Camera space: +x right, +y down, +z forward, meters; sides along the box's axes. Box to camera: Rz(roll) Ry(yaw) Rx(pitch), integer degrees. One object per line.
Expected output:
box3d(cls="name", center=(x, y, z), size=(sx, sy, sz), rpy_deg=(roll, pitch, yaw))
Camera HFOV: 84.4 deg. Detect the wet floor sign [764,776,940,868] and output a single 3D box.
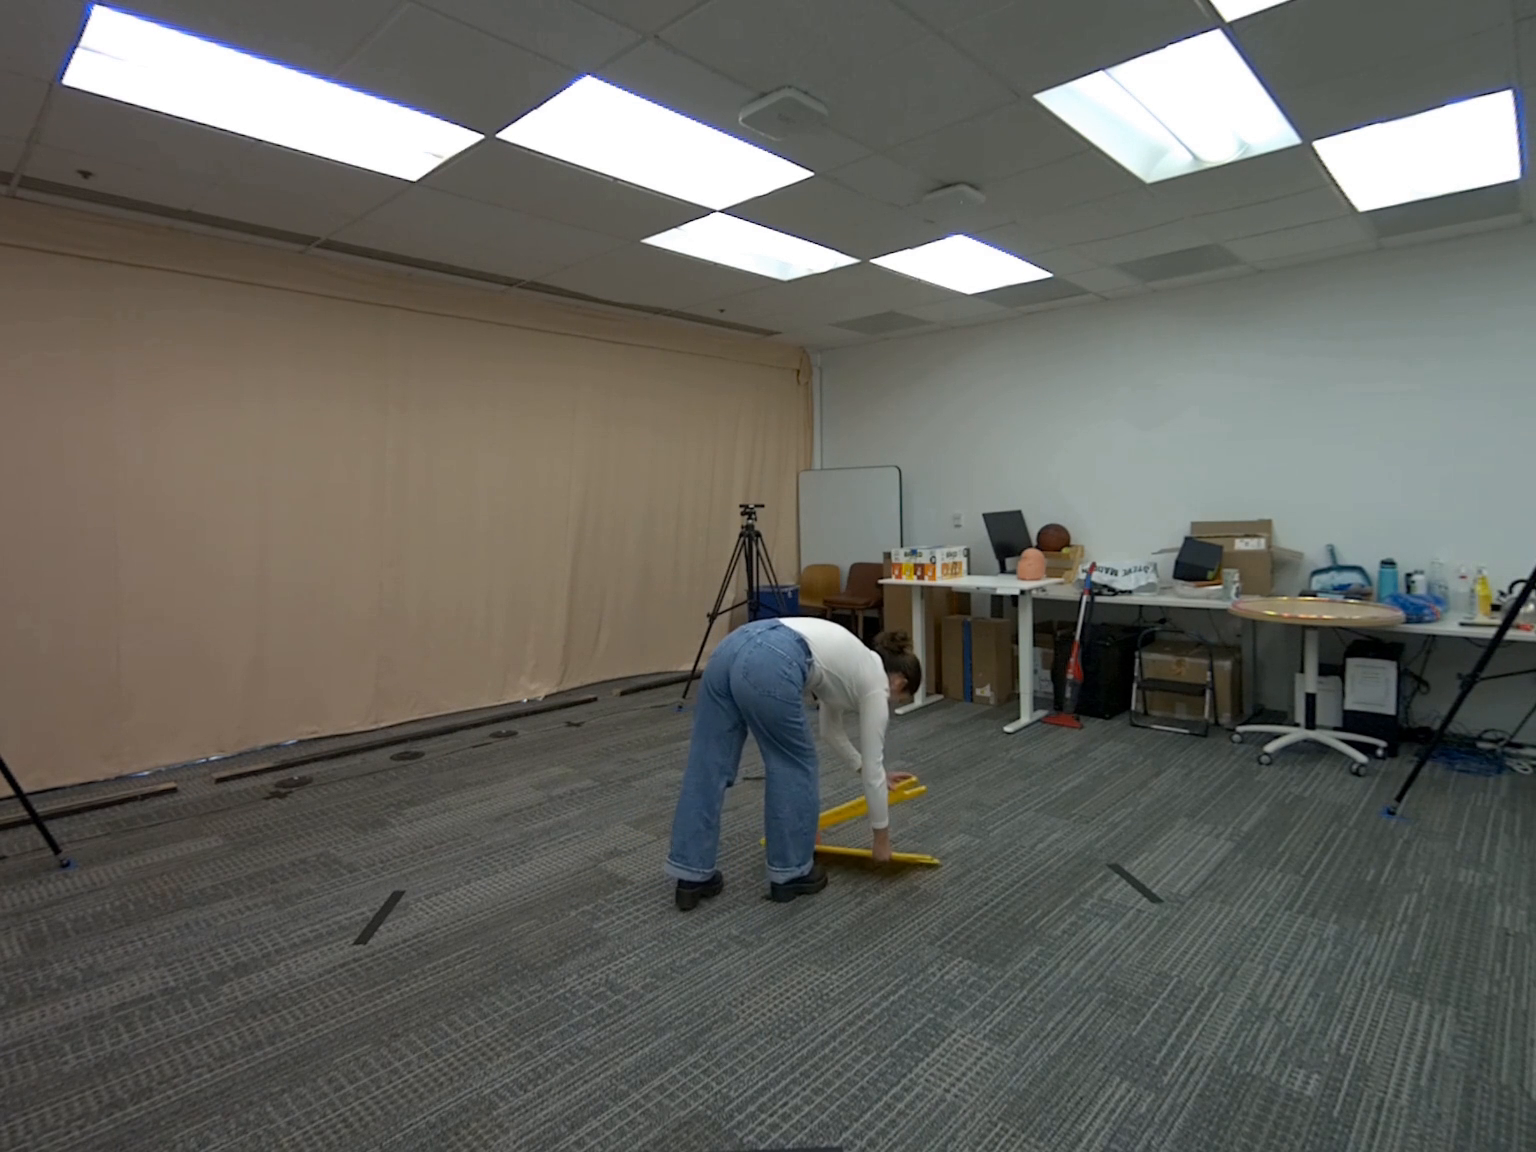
box3d(cls="wet floor sign", center=(0.304, 0.987, 3.261), size=(0.656, 0.294, 0.273), rpy_deg=(-13, -24, 17))
